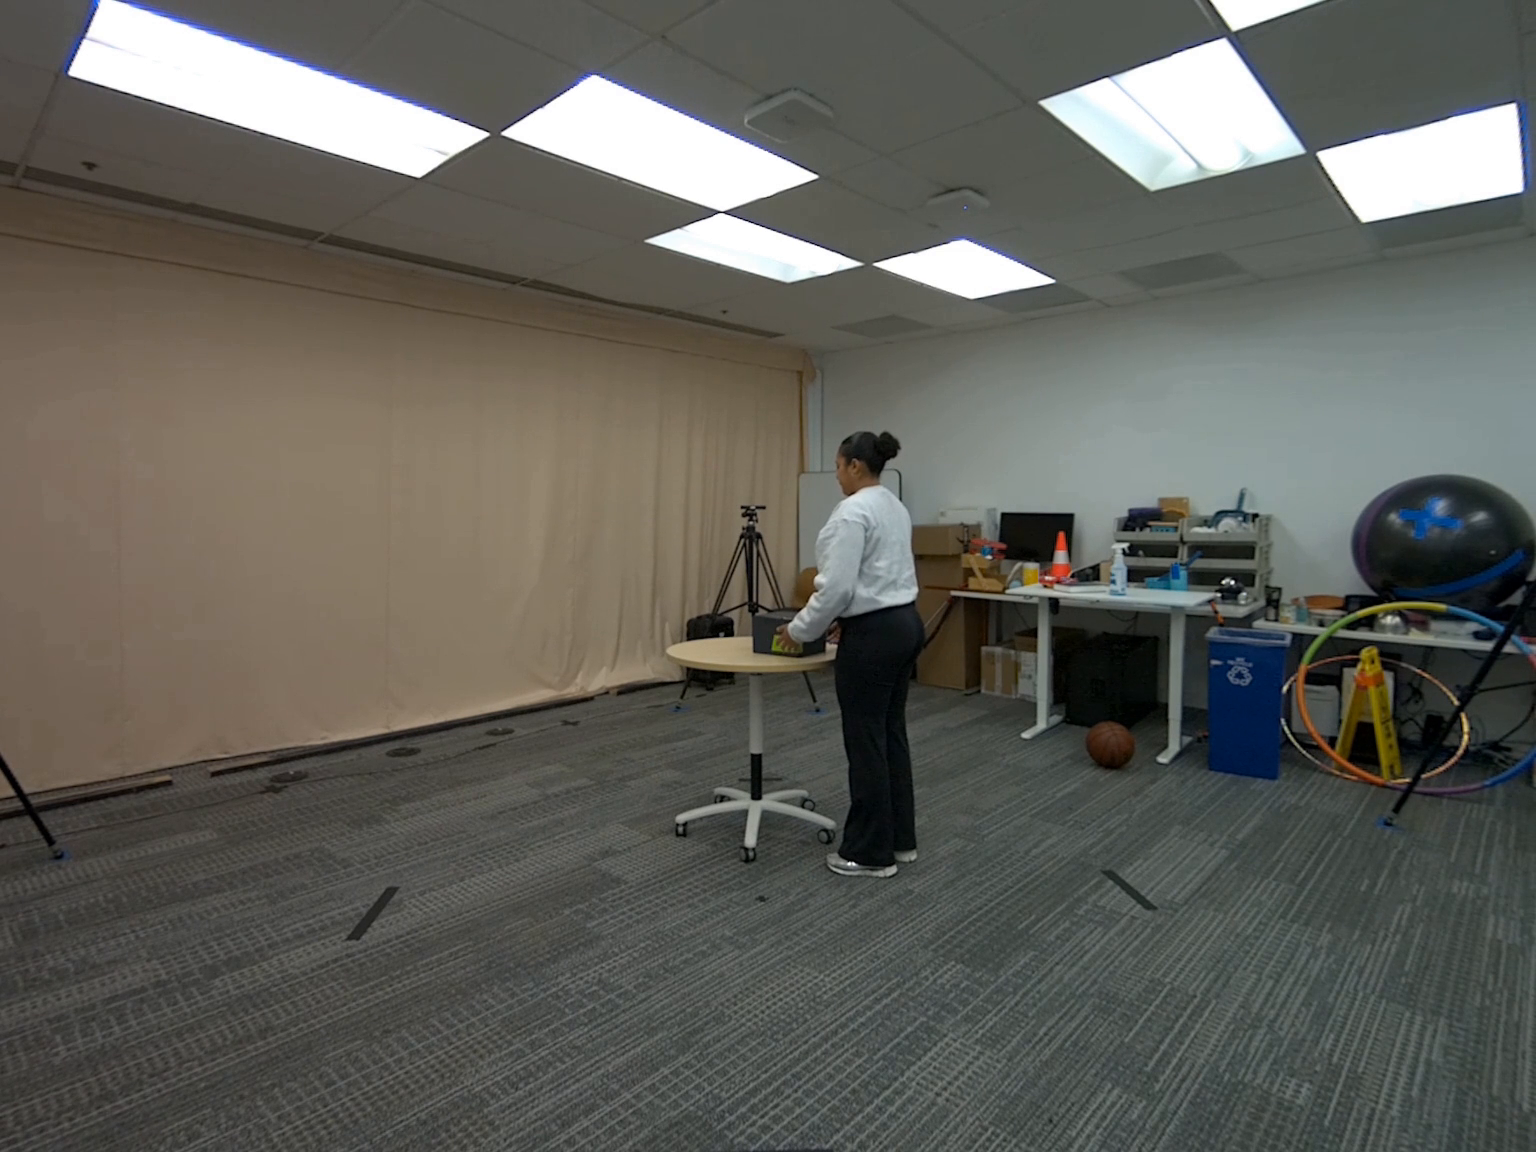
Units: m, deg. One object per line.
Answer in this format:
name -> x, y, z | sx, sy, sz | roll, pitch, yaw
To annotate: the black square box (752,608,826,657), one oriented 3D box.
black square box -> 0.090, 0.239, 3.508 | 0.235, 0.155, 0.210 | 2, 4, 36
